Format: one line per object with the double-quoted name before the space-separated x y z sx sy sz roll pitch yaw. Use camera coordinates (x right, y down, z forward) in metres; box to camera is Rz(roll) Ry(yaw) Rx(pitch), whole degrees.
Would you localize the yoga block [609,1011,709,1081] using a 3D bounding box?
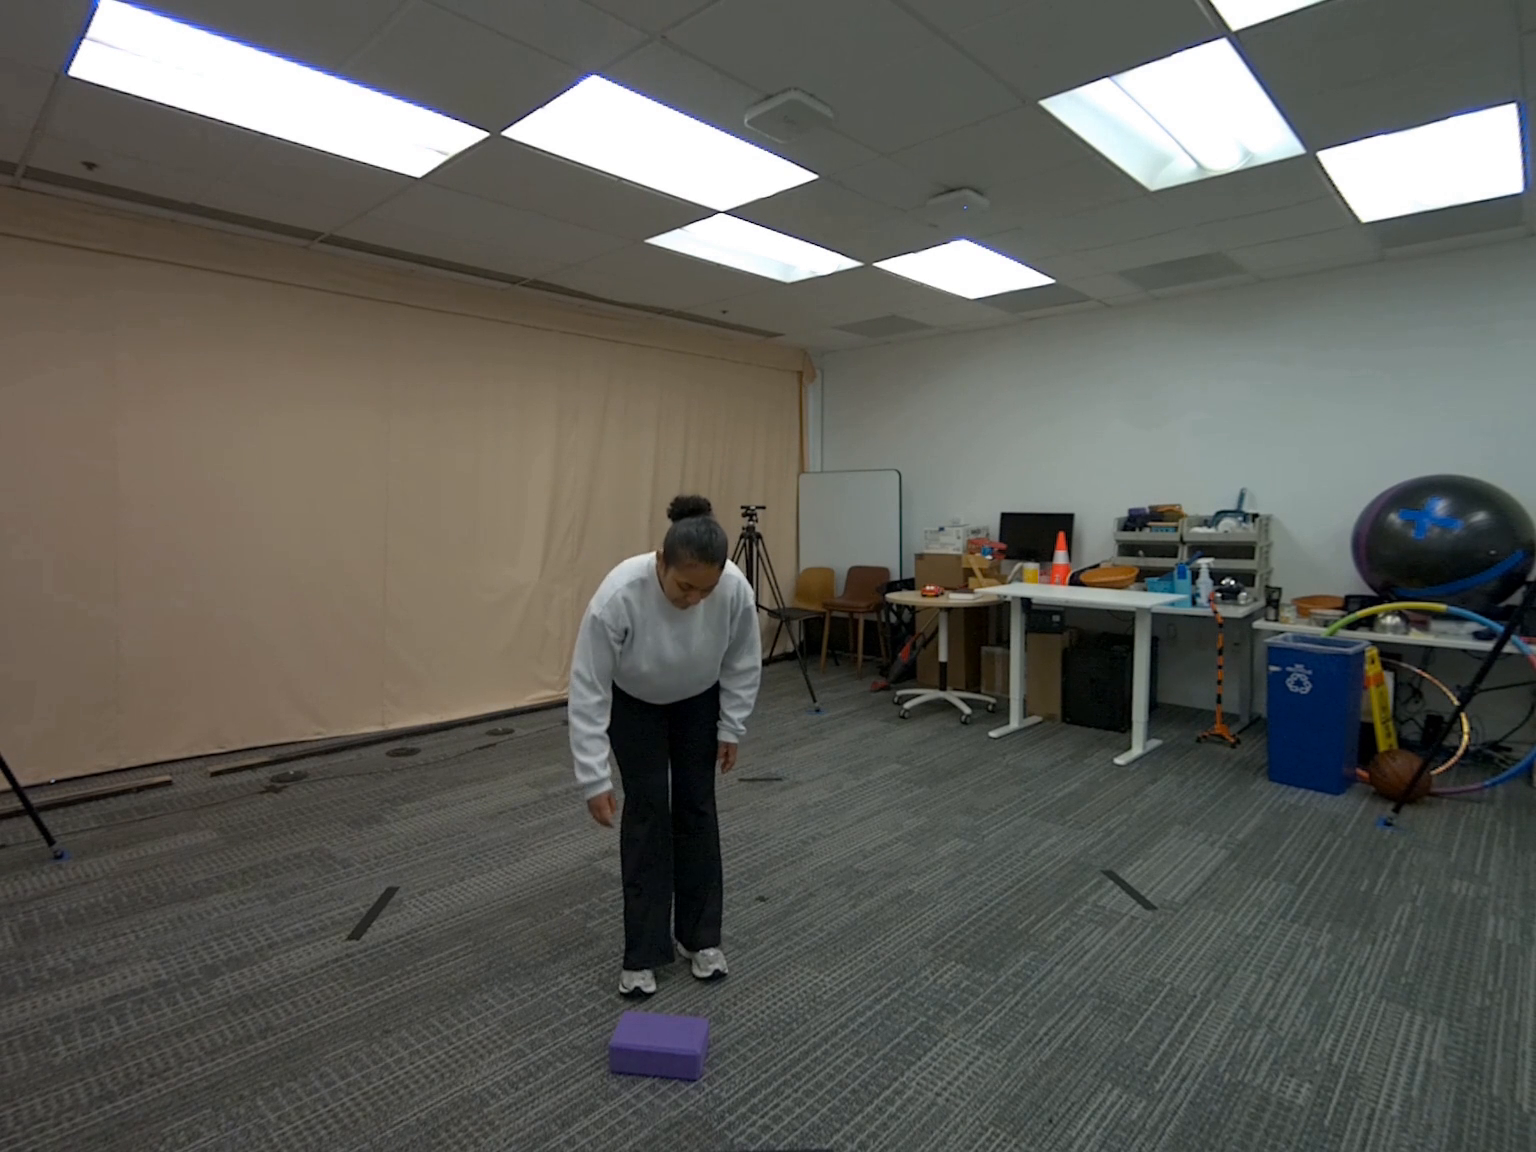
"yoga block" -0.271 1.173 2.122 0.232 0.076 0.148 1 4 8
